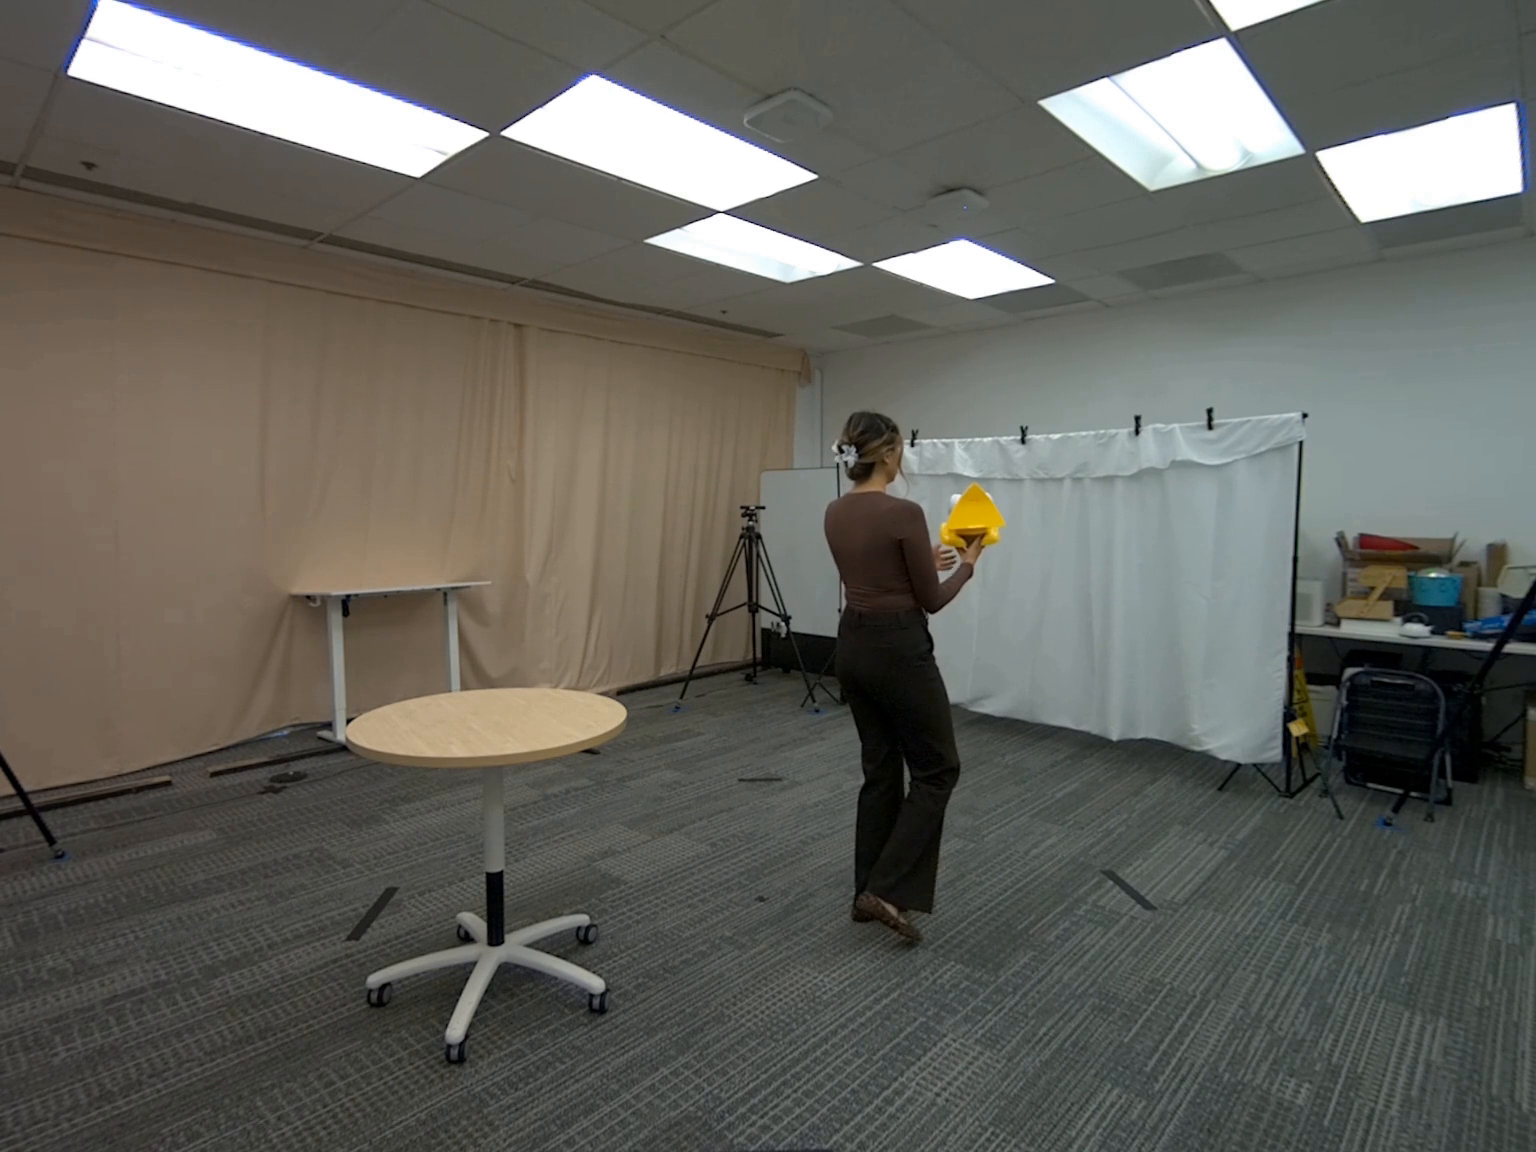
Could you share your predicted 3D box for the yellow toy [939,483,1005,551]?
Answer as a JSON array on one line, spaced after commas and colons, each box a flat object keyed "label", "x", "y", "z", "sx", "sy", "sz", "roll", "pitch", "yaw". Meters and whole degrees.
[{"label": "yellow toy", "x": 0.710, "y": -0.235, "z": 2.911, "sx": 0.205, "sy": 0.227, "sz": 0.195, "roll": -4, "pitch": 25, "yaw": 3}]
